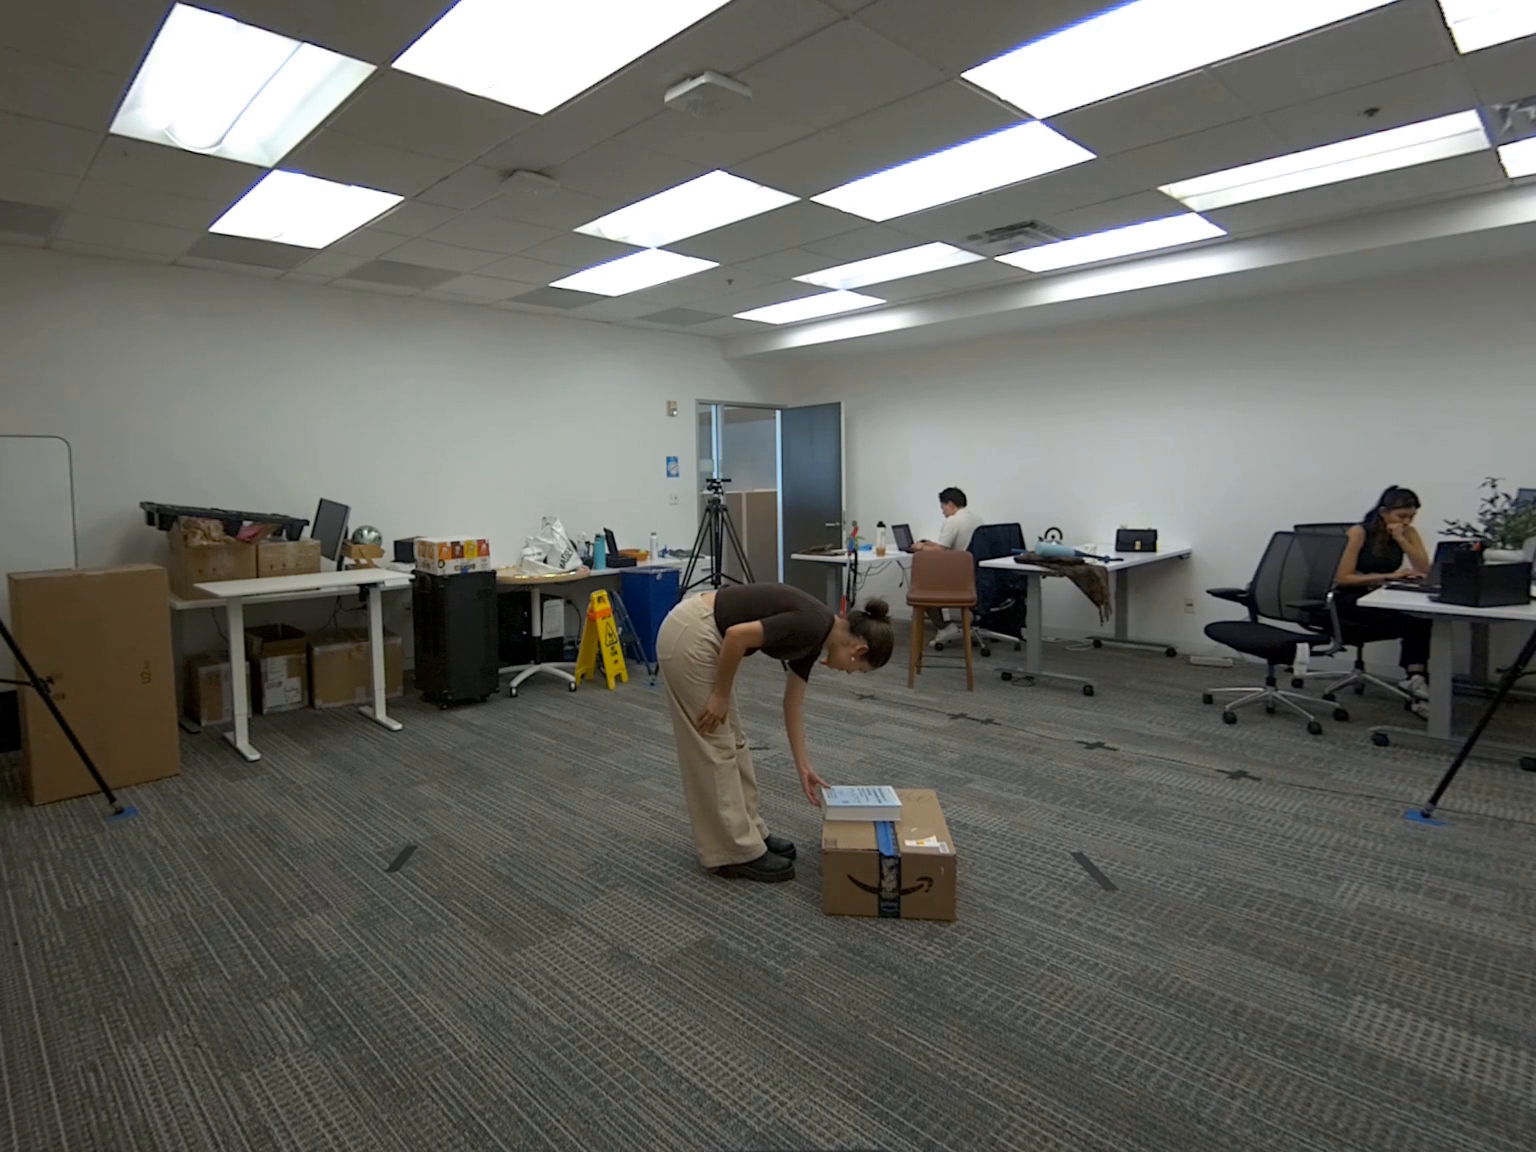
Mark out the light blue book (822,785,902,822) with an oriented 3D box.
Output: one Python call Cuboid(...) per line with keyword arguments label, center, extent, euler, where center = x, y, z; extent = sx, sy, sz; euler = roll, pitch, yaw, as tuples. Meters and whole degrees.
Cuboid(label="light blue book", center=(0.324, 0.798, 3.033), extent=(0.261, 0.059, 0.192), euler=(0, 7, -1))
